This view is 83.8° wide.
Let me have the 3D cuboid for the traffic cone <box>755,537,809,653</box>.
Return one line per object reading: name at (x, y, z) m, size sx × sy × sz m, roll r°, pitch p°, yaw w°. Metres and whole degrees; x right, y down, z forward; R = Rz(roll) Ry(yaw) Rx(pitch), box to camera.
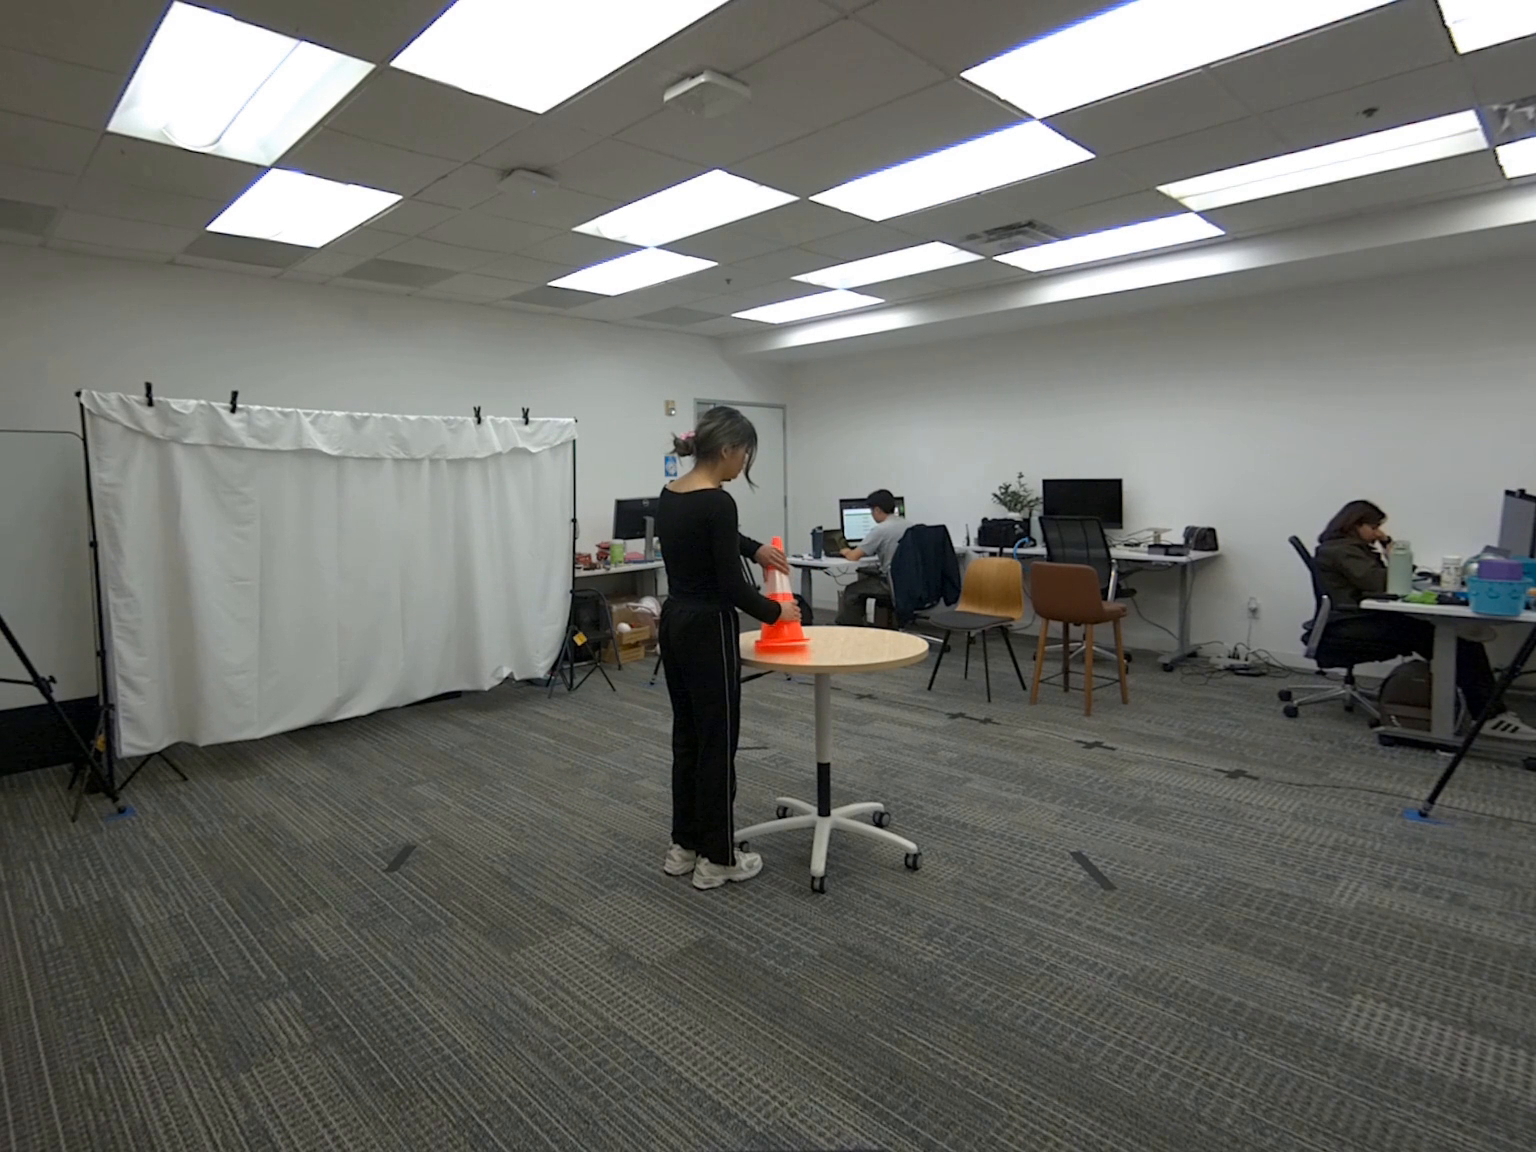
traffic cone at (0.039, 0.048, 3.091) m, size 0.203 × 0.387 × 0.203 m, roll -2°, pitch -10°, yaw 0°
